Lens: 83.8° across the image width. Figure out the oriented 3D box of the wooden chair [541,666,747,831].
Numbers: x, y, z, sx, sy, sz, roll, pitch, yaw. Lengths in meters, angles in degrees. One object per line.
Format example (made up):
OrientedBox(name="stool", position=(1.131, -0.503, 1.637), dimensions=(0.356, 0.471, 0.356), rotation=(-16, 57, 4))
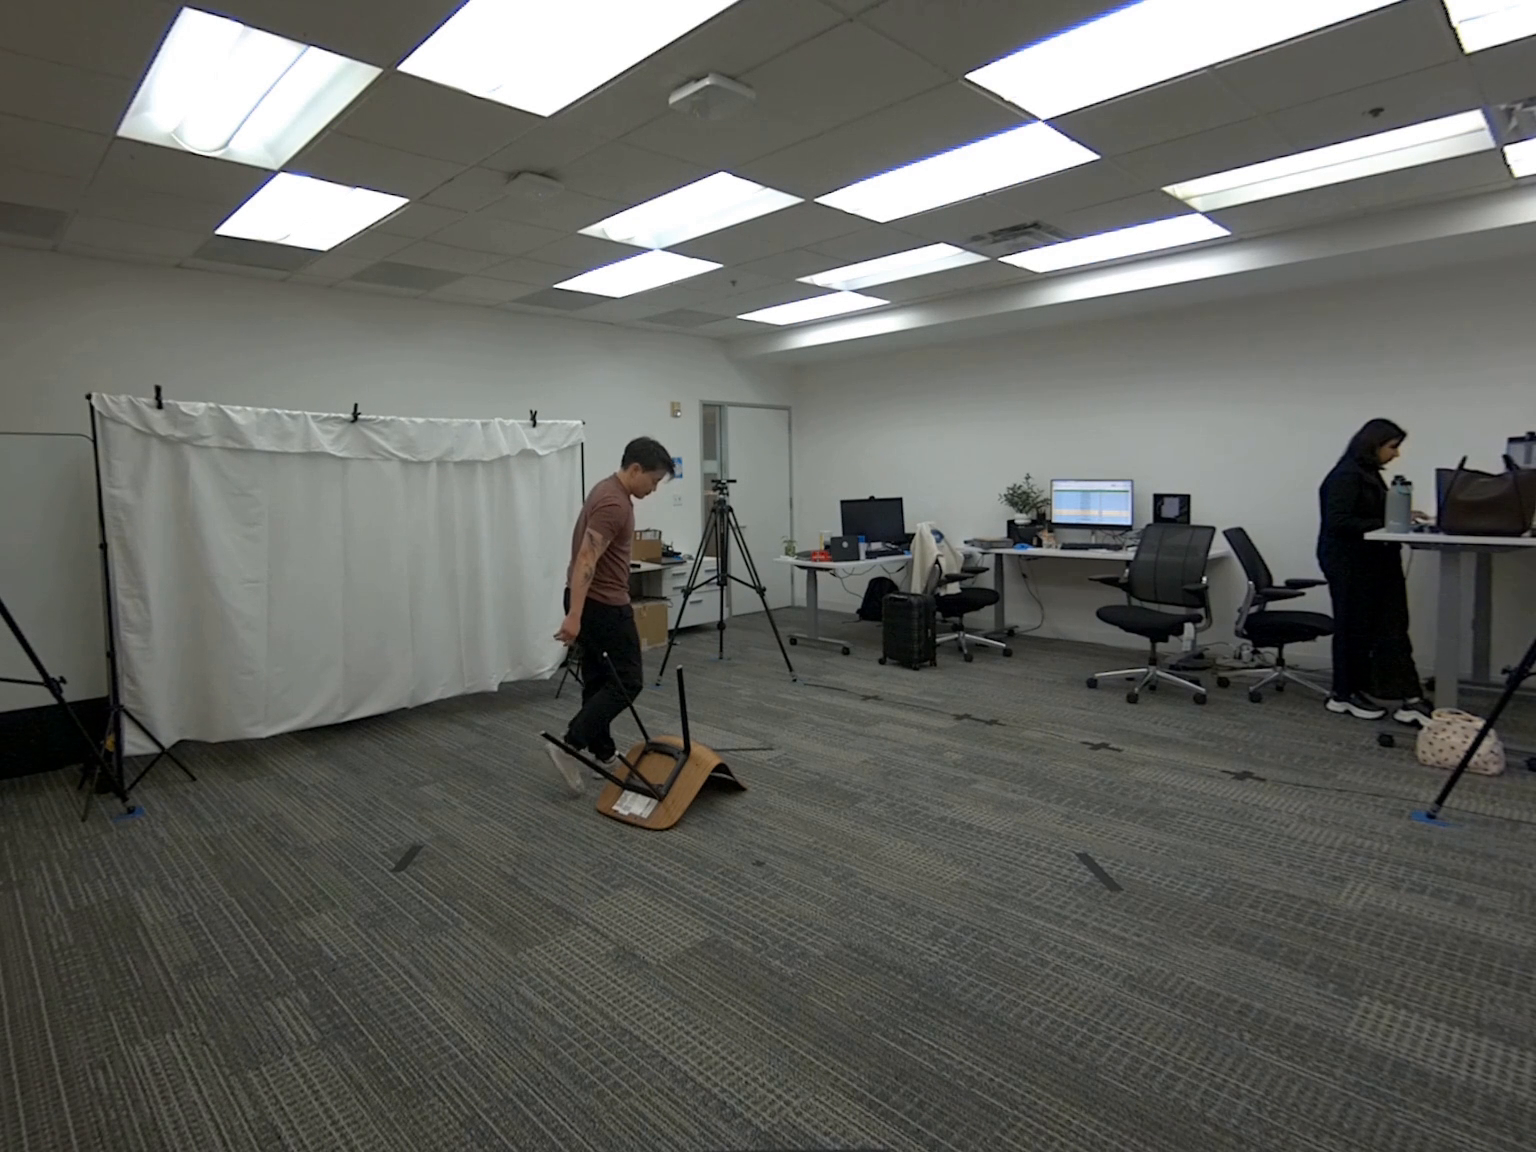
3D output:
OrientedBox(name="wooden chair", position=(-0.485, 0.826, 3.649), dimensions=(0.492, 0.847, 0.526), rotation=(2, 45, 37))
